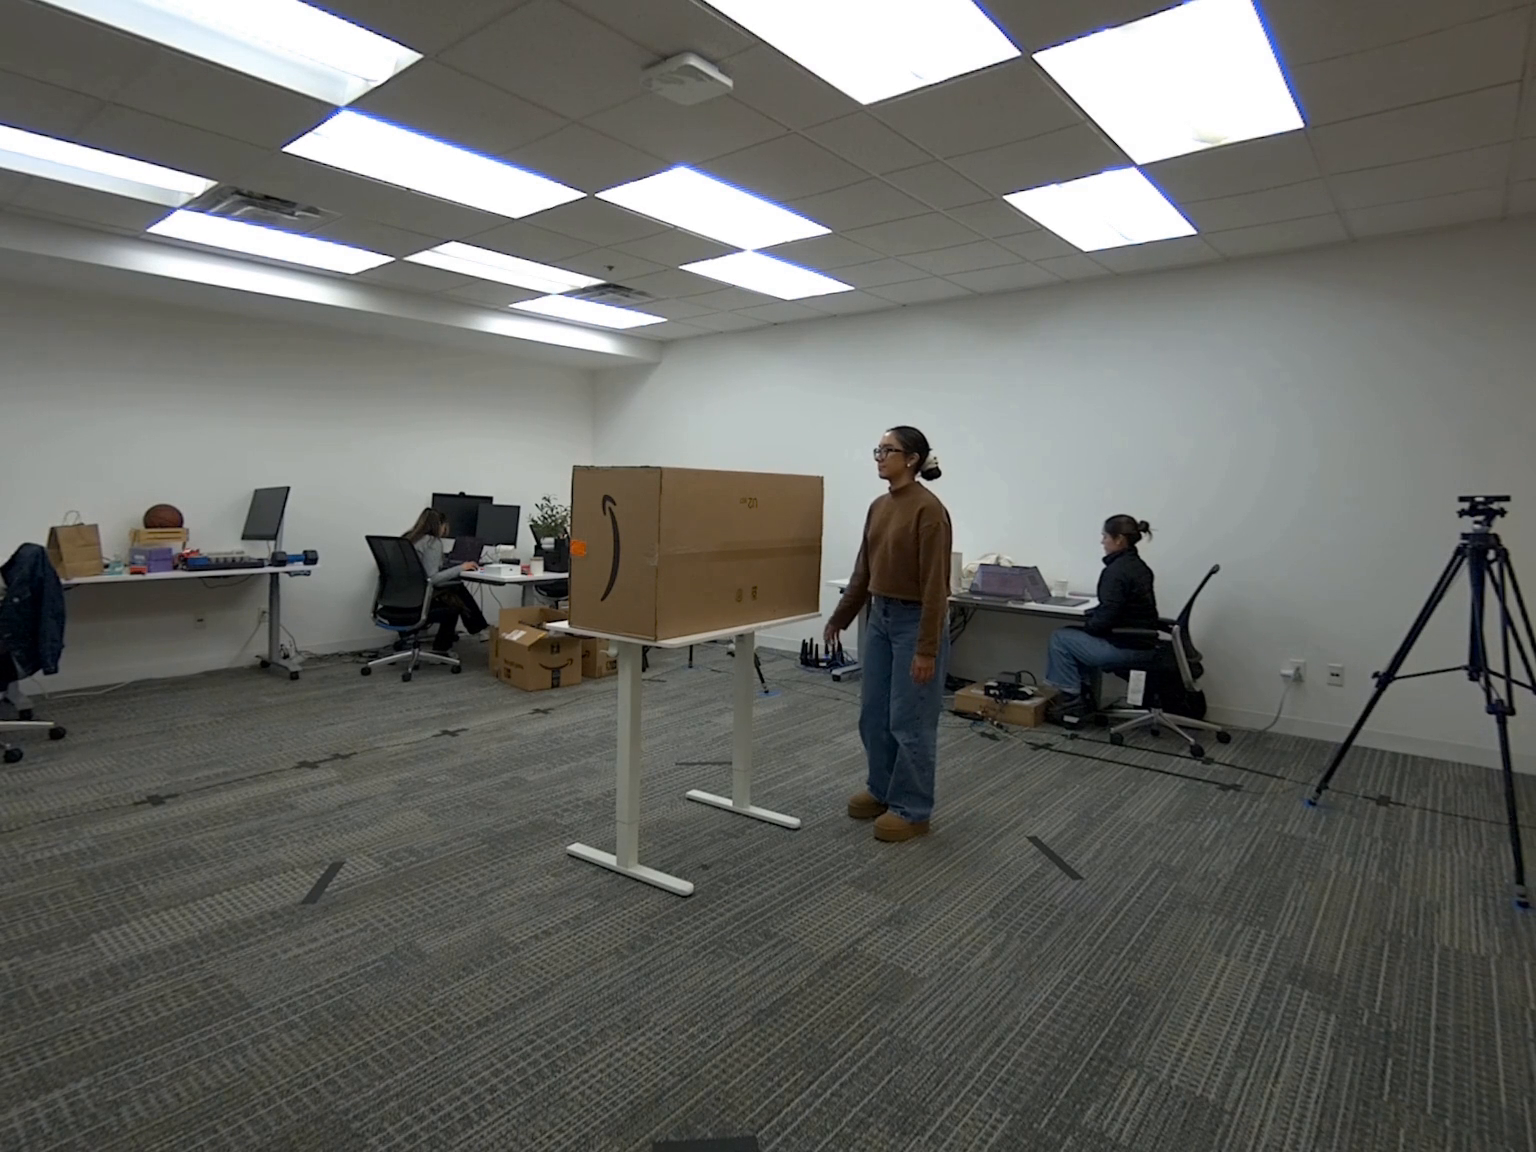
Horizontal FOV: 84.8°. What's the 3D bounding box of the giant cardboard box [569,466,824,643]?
[{"bbox_3d":[-0.255,-0.118,3.293,0.440,0.575,0.996,5,6,36],"label":"giant cardboard box"}]
